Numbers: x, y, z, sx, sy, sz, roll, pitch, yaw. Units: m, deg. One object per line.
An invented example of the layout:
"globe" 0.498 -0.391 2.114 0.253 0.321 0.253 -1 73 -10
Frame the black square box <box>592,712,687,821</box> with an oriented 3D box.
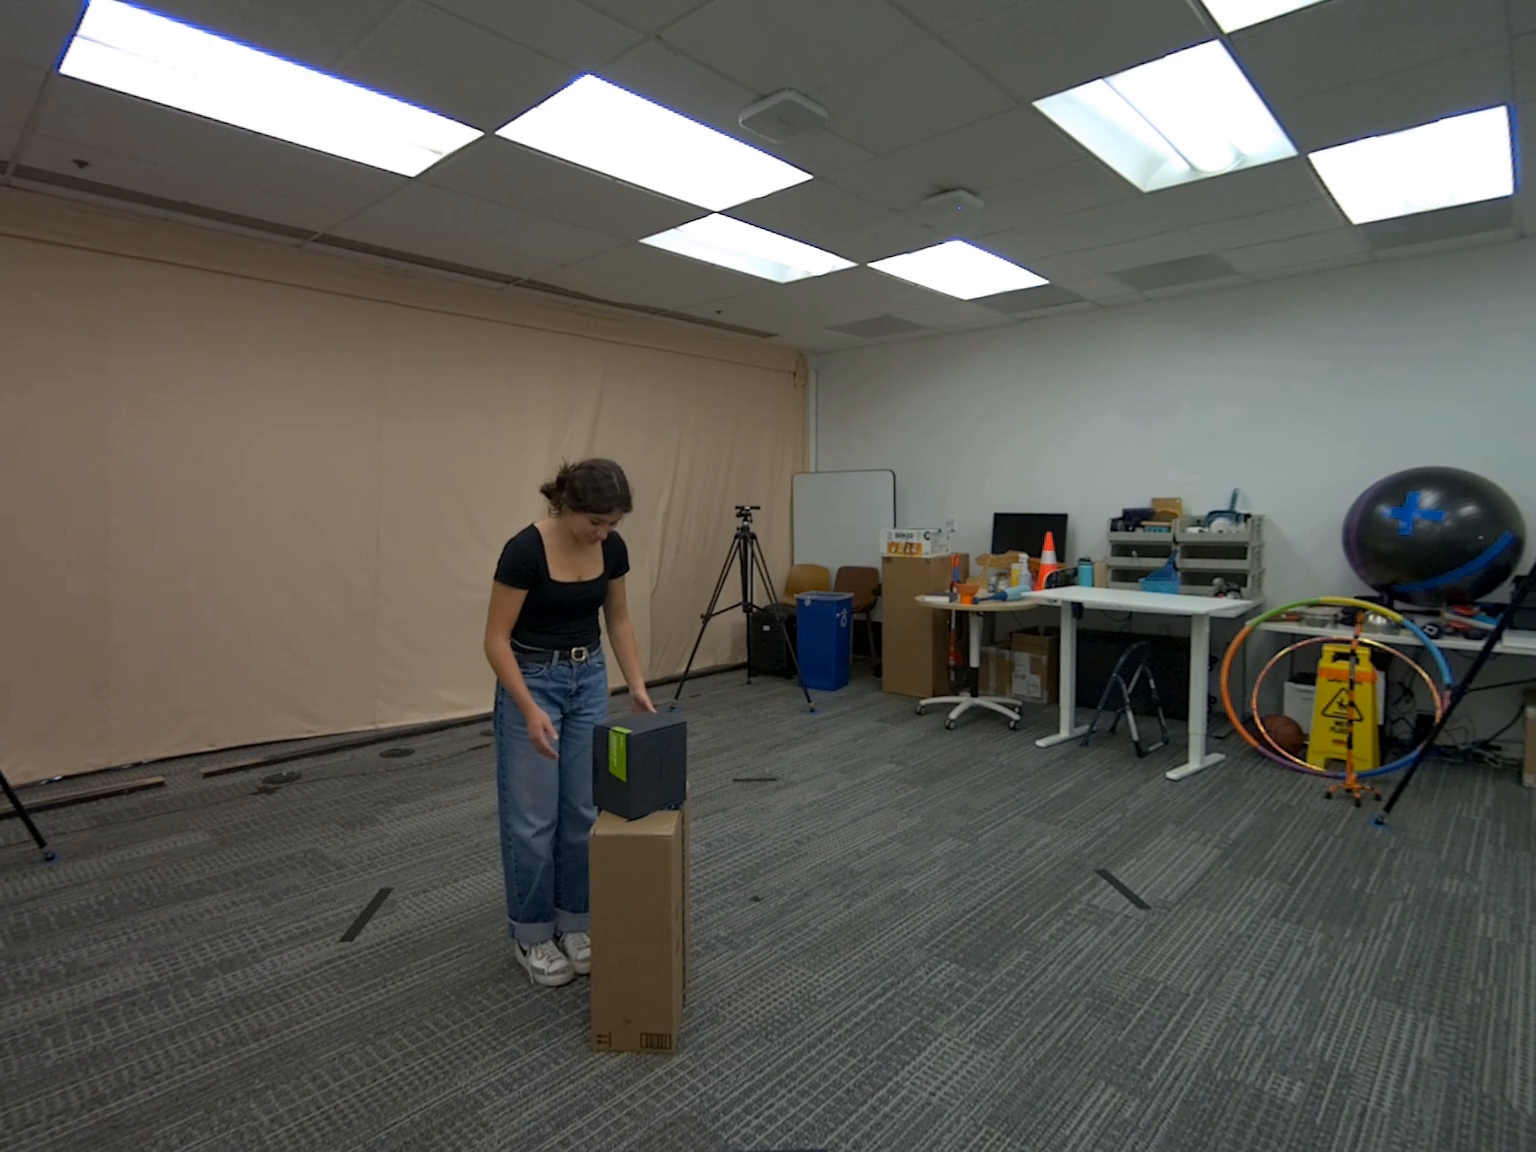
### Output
"black square box" -0.352 0.517 2.336 0.161 0.227 0.210 3 5 40
